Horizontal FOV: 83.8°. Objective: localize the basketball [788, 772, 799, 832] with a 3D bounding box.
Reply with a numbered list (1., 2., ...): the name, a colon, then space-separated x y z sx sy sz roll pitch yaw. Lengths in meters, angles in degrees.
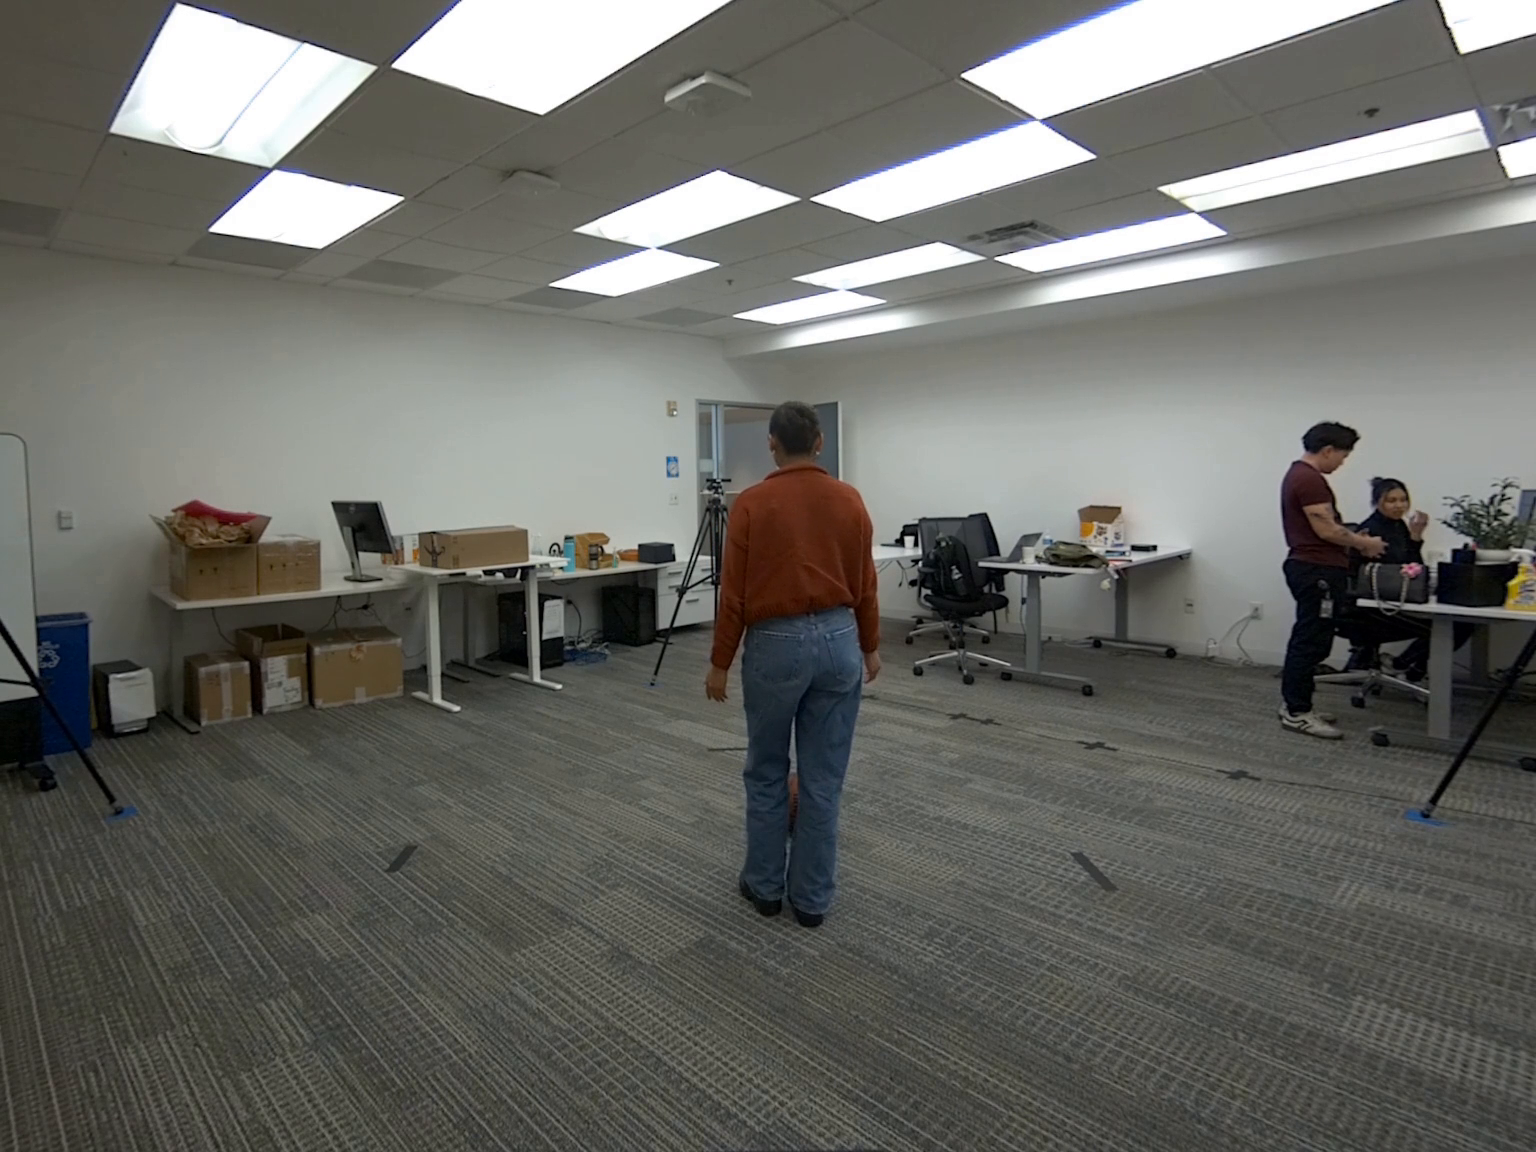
1. basketball: 0.145 0.890 3.372 0.236 0.235 0.237 -1 5 -2
